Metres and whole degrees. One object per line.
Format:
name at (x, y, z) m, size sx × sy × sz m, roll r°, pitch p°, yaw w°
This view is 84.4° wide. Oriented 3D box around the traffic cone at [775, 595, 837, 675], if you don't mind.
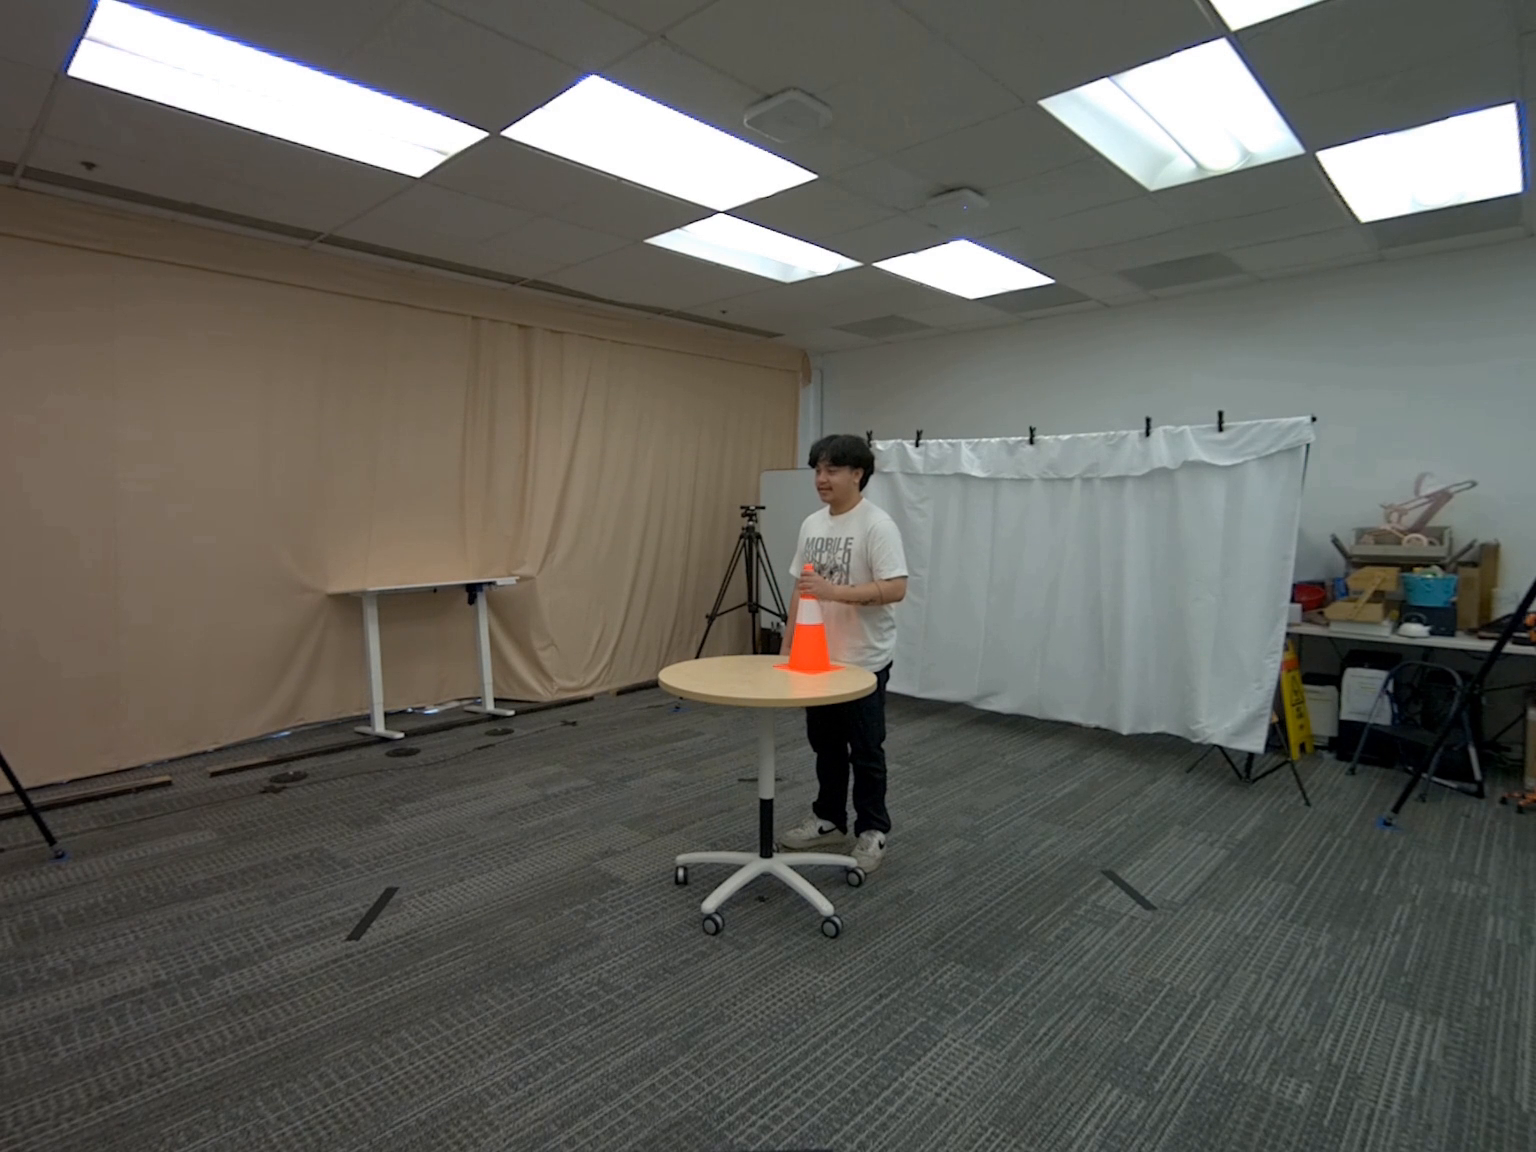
traffic cone at (0.153, 0.153, 3.106) m, size 0.210 × 0.383 × 0.198 m, roll 2°, pitch 1°, yaw 23°
